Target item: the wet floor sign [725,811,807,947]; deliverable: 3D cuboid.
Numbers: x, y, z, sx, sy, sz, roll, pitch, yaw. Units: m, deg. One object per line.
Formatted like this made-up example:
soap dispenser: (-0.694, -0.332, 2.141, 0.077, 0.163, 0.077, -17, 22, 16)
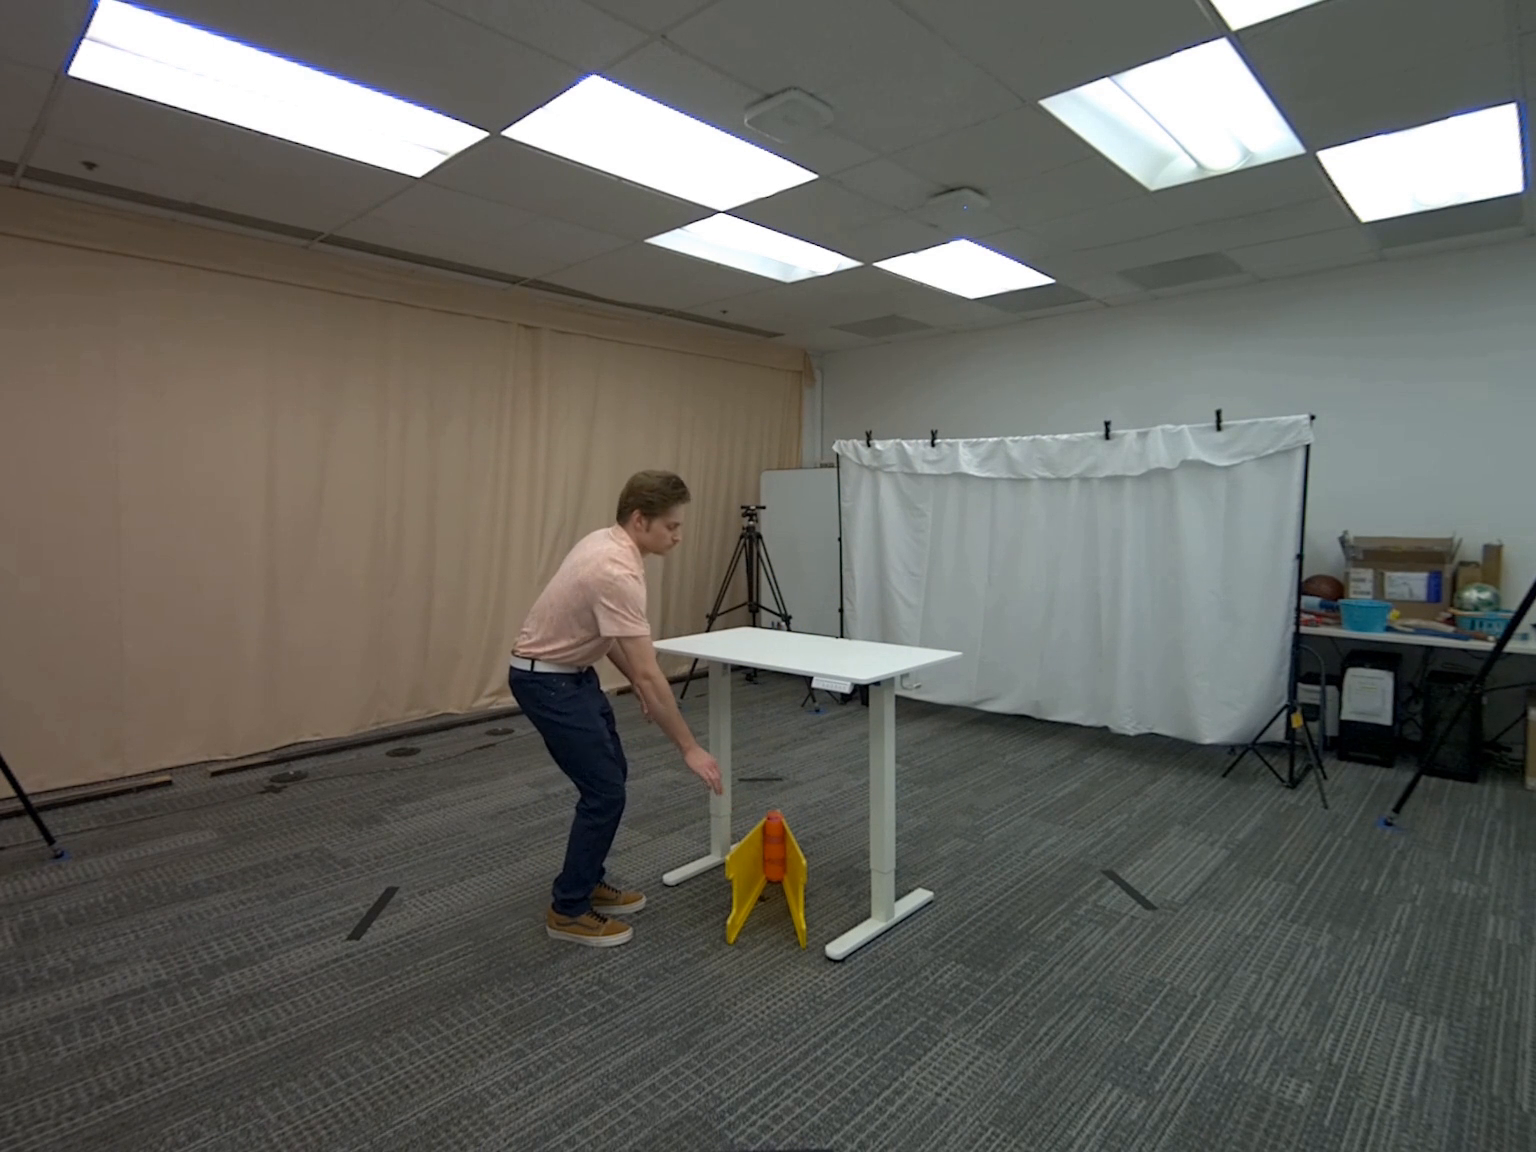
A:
wet floor sign: (0.016, 1.017, 2.972, 0.292, 0.282, 0.642, 0, 1, 5)
